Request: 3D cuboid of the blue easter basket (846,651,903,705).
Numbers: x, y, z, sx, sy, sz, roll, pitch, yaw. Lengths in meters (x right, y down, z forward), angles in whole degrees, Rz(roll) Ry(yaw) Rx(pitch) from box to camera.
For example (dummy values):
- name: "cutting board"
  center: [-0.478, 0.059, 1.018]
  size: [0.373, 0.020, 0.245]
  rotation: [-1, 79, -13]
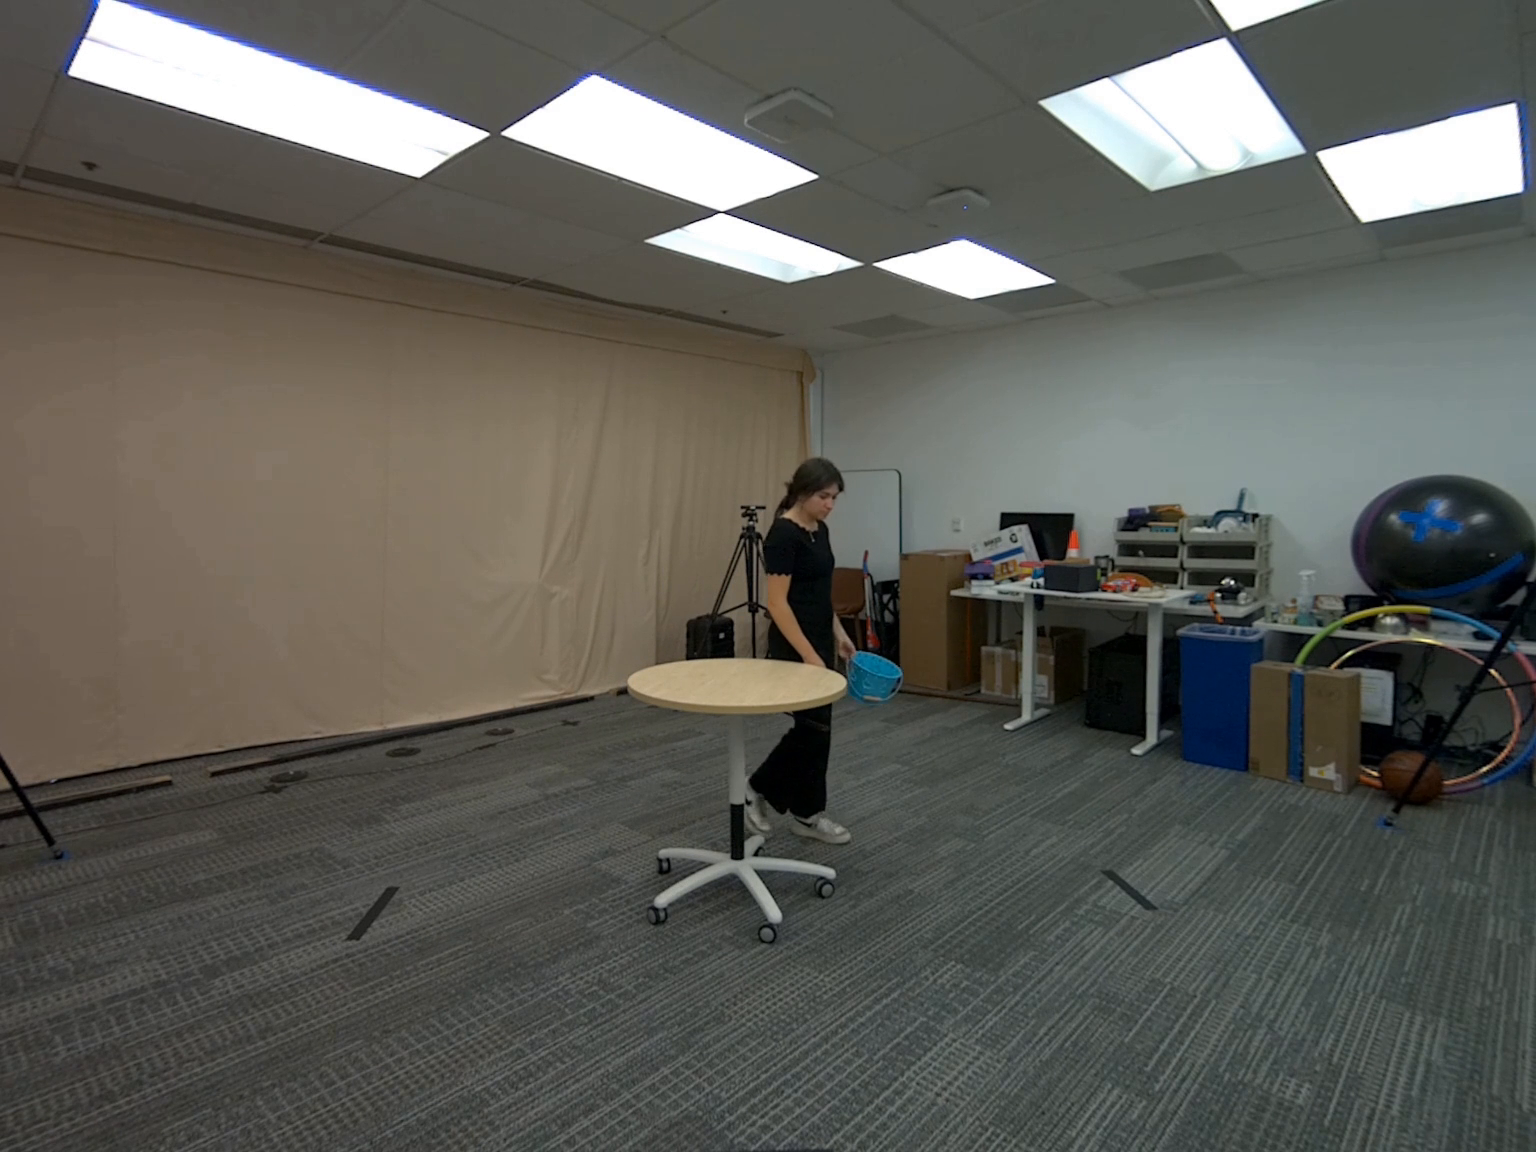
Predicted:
- name: "blue easter basket"
  center: [0.448, 0.446, 3.648]
  size: [0.242, 0.155, 0.246]
  rotation: [15, 15, -6]
